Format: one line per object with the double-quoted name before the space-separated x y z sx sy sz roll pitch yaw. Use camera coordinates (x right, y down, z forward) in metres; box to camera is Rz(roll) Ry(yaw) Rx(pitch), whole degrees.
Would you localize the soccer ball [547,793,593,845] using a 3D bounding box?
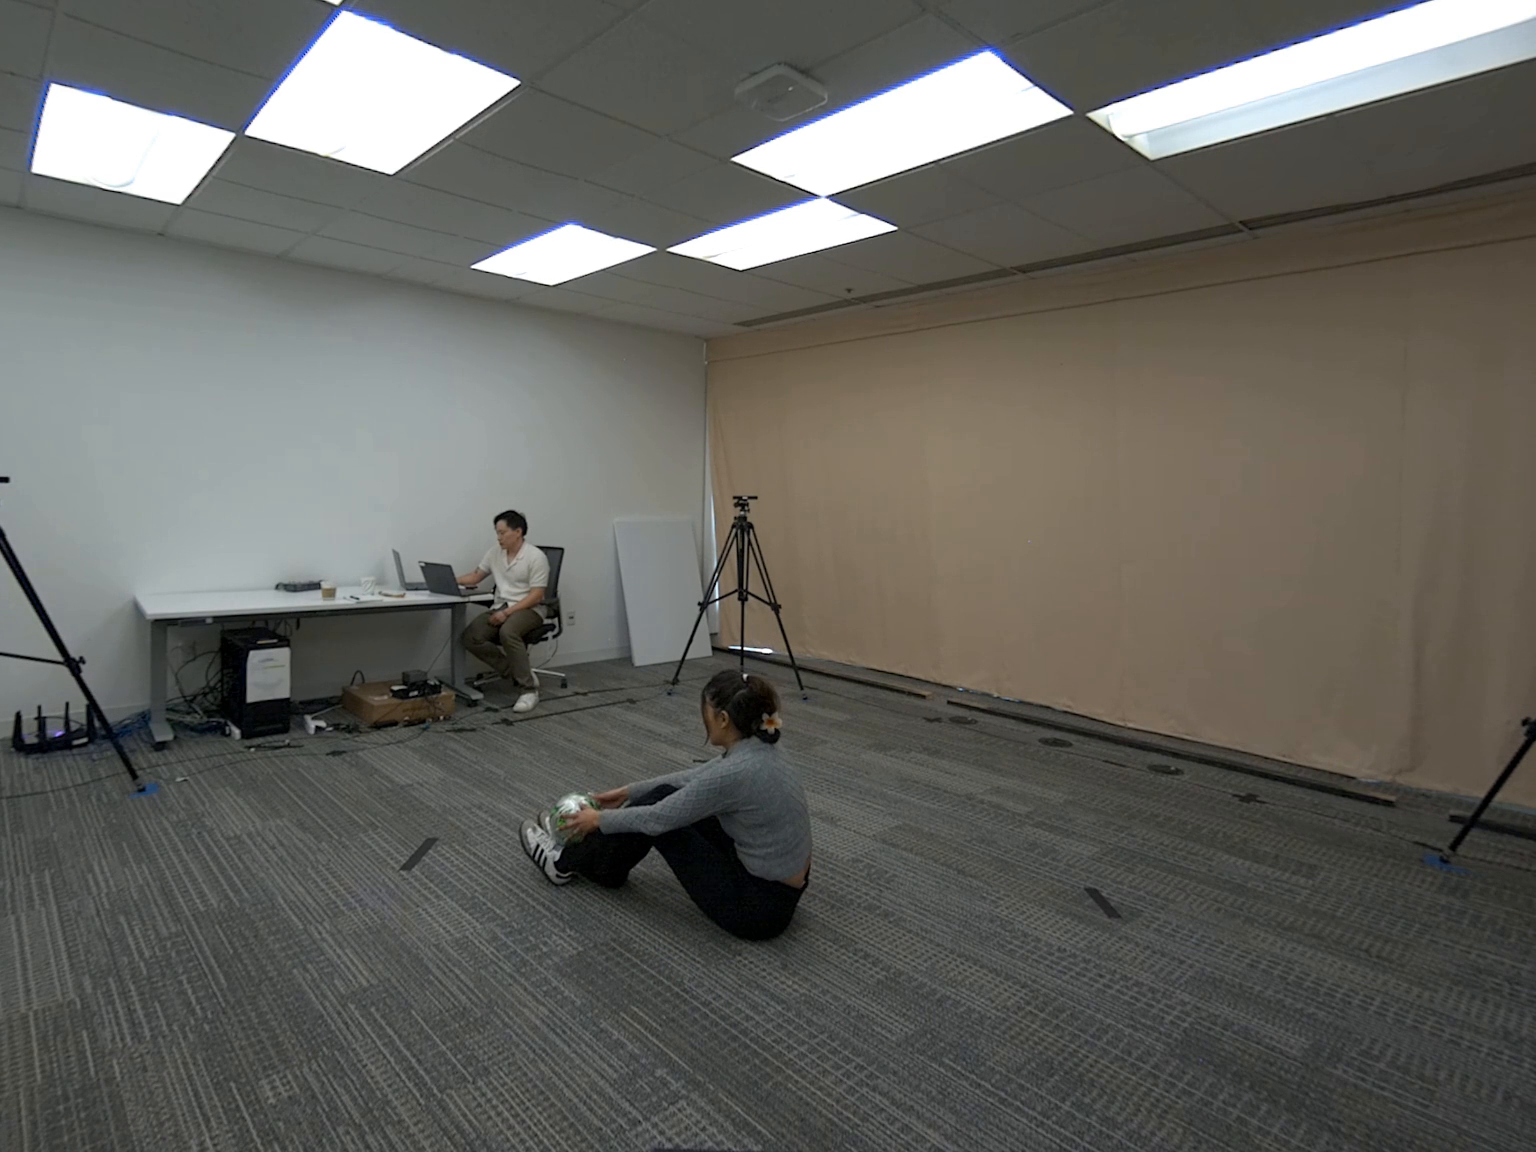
"soccer ball" -0.685 0.866 3.004 0.187 0.187 0.188 1 4 -1
